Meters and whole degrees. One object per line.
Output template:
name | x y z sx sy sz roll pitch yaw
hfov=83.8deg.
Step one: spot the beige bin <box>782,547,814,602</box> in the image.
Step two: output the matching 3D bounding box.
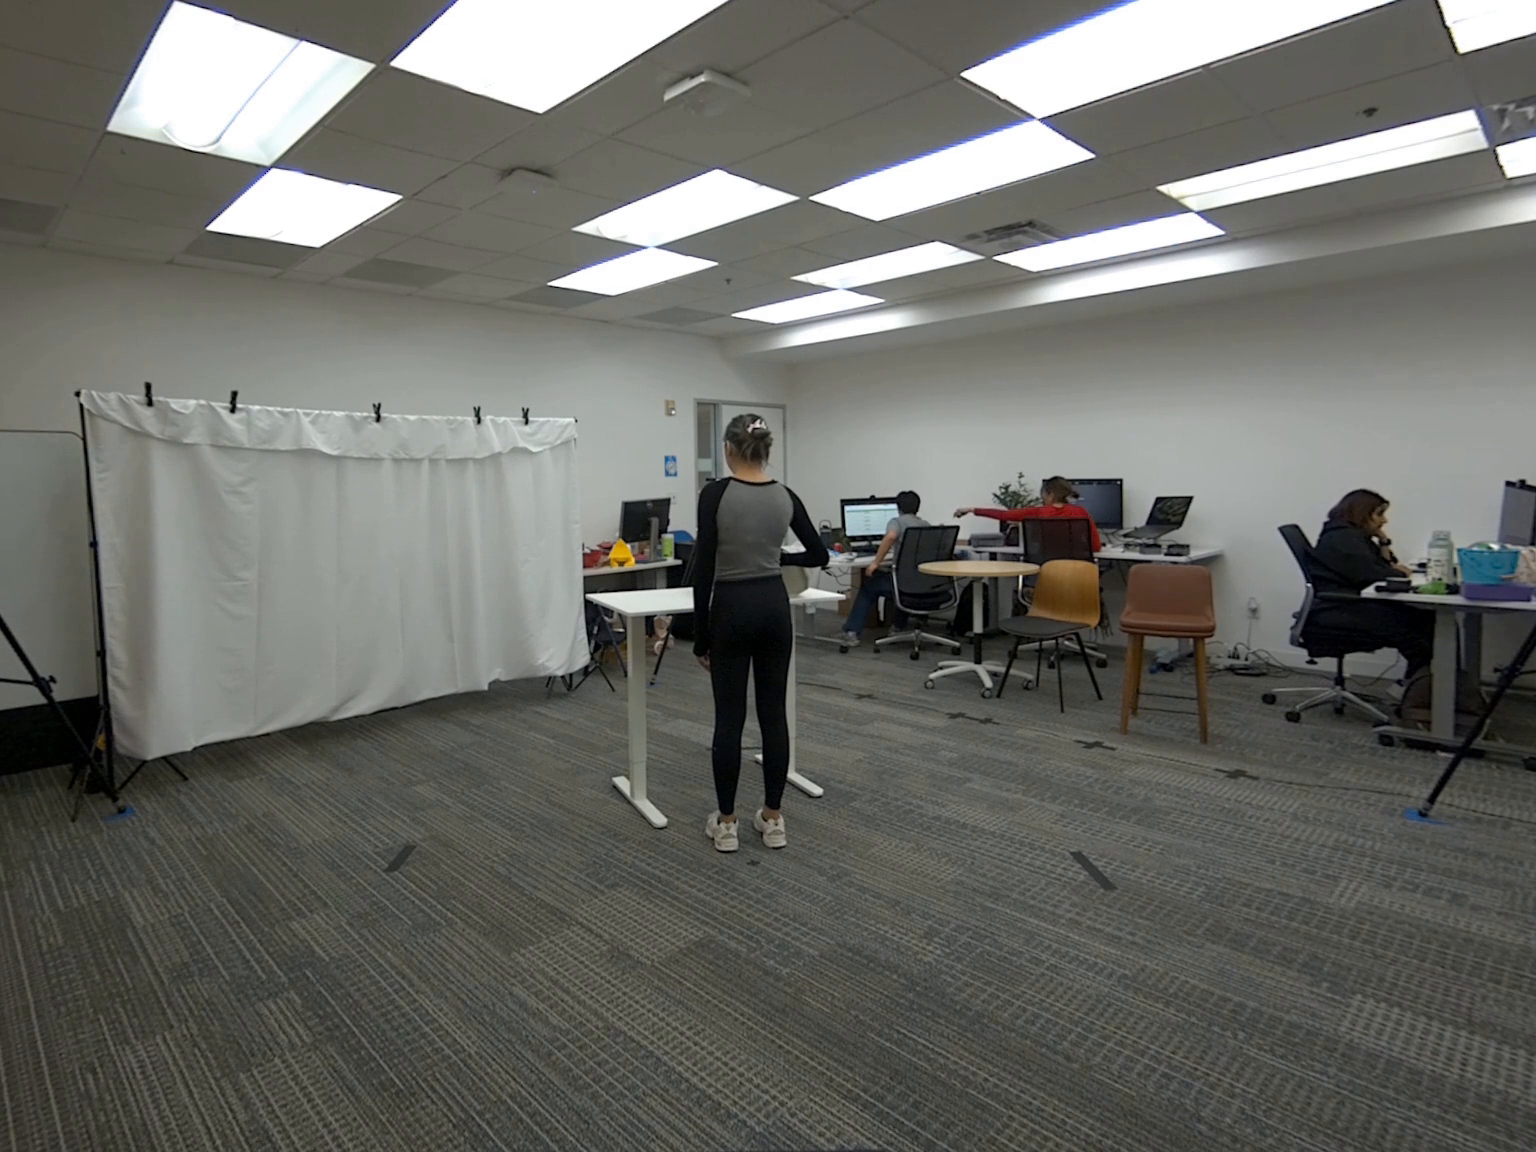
beige bin | -0.045 -0.008 3.837 0.374 0.188 0.429 -4 7 -11
